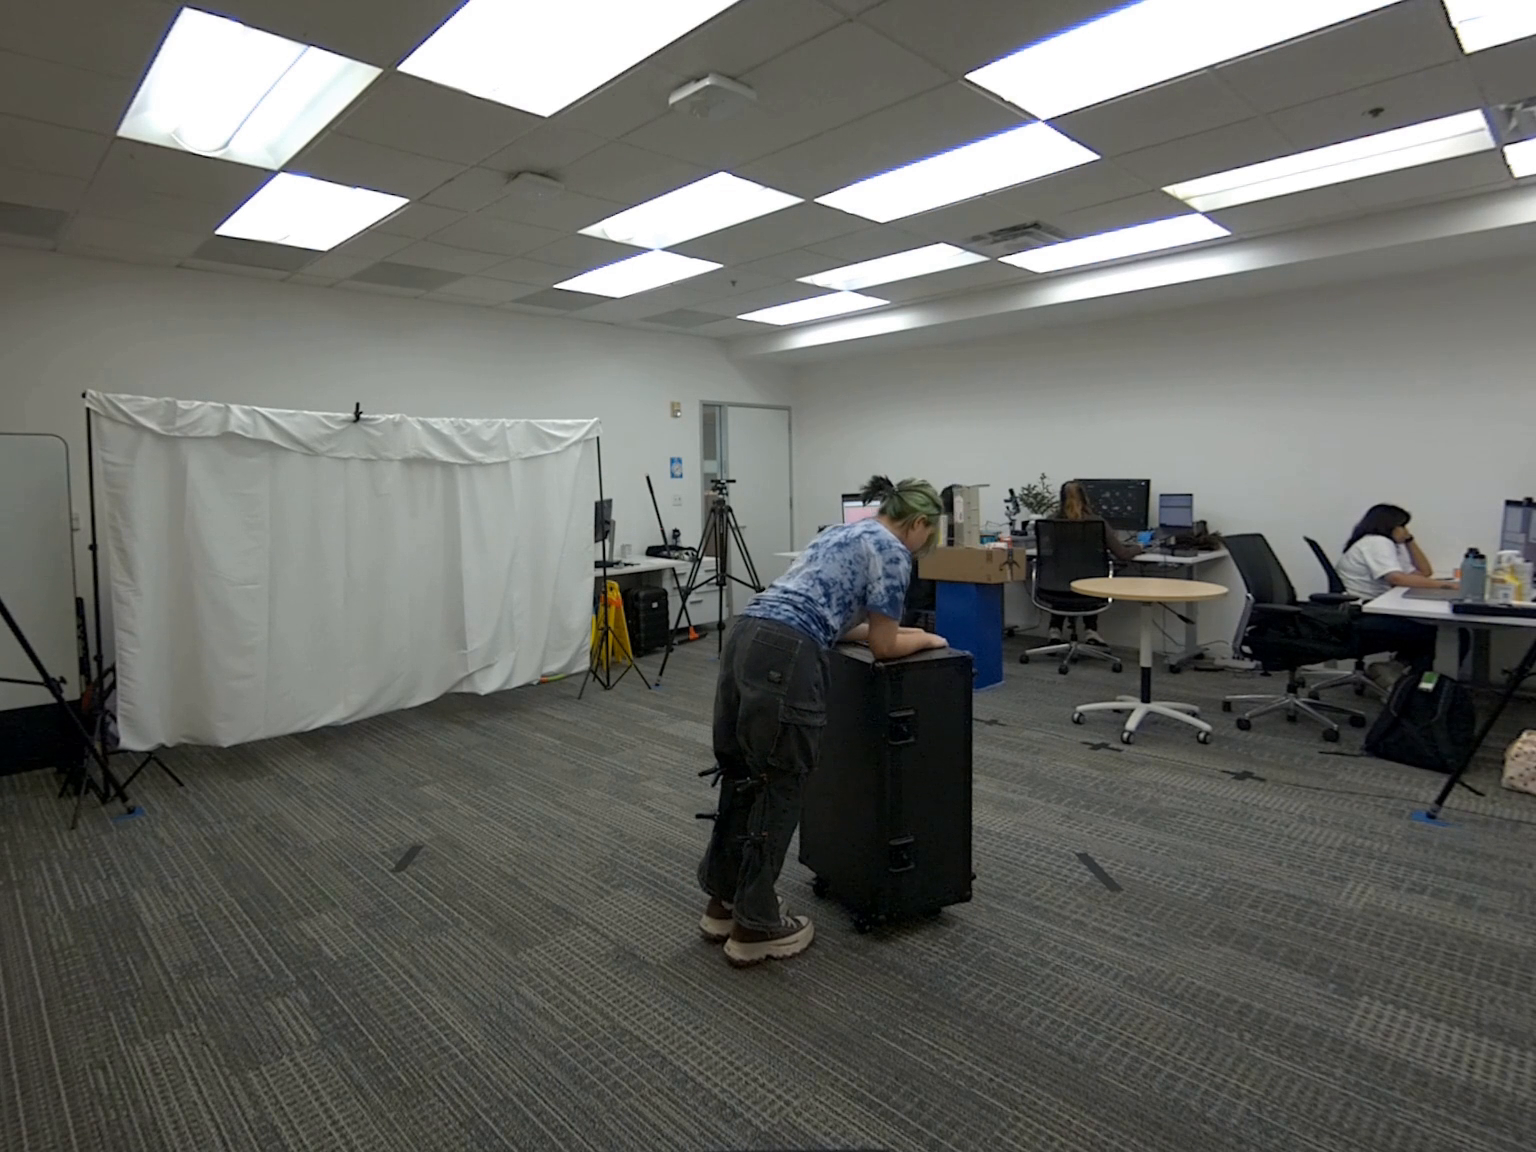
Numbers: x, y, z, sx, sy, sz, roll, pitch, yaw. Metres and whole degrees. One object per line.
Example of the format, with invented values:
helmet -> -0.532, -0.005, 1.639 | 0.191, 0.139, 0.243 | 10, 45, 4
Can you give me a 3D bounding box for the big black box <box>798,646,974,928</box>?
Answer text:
big black box -> 0.384, 0.590, 2.799 | 0.388, 0.859, 0.534 | -2, 4, -26
